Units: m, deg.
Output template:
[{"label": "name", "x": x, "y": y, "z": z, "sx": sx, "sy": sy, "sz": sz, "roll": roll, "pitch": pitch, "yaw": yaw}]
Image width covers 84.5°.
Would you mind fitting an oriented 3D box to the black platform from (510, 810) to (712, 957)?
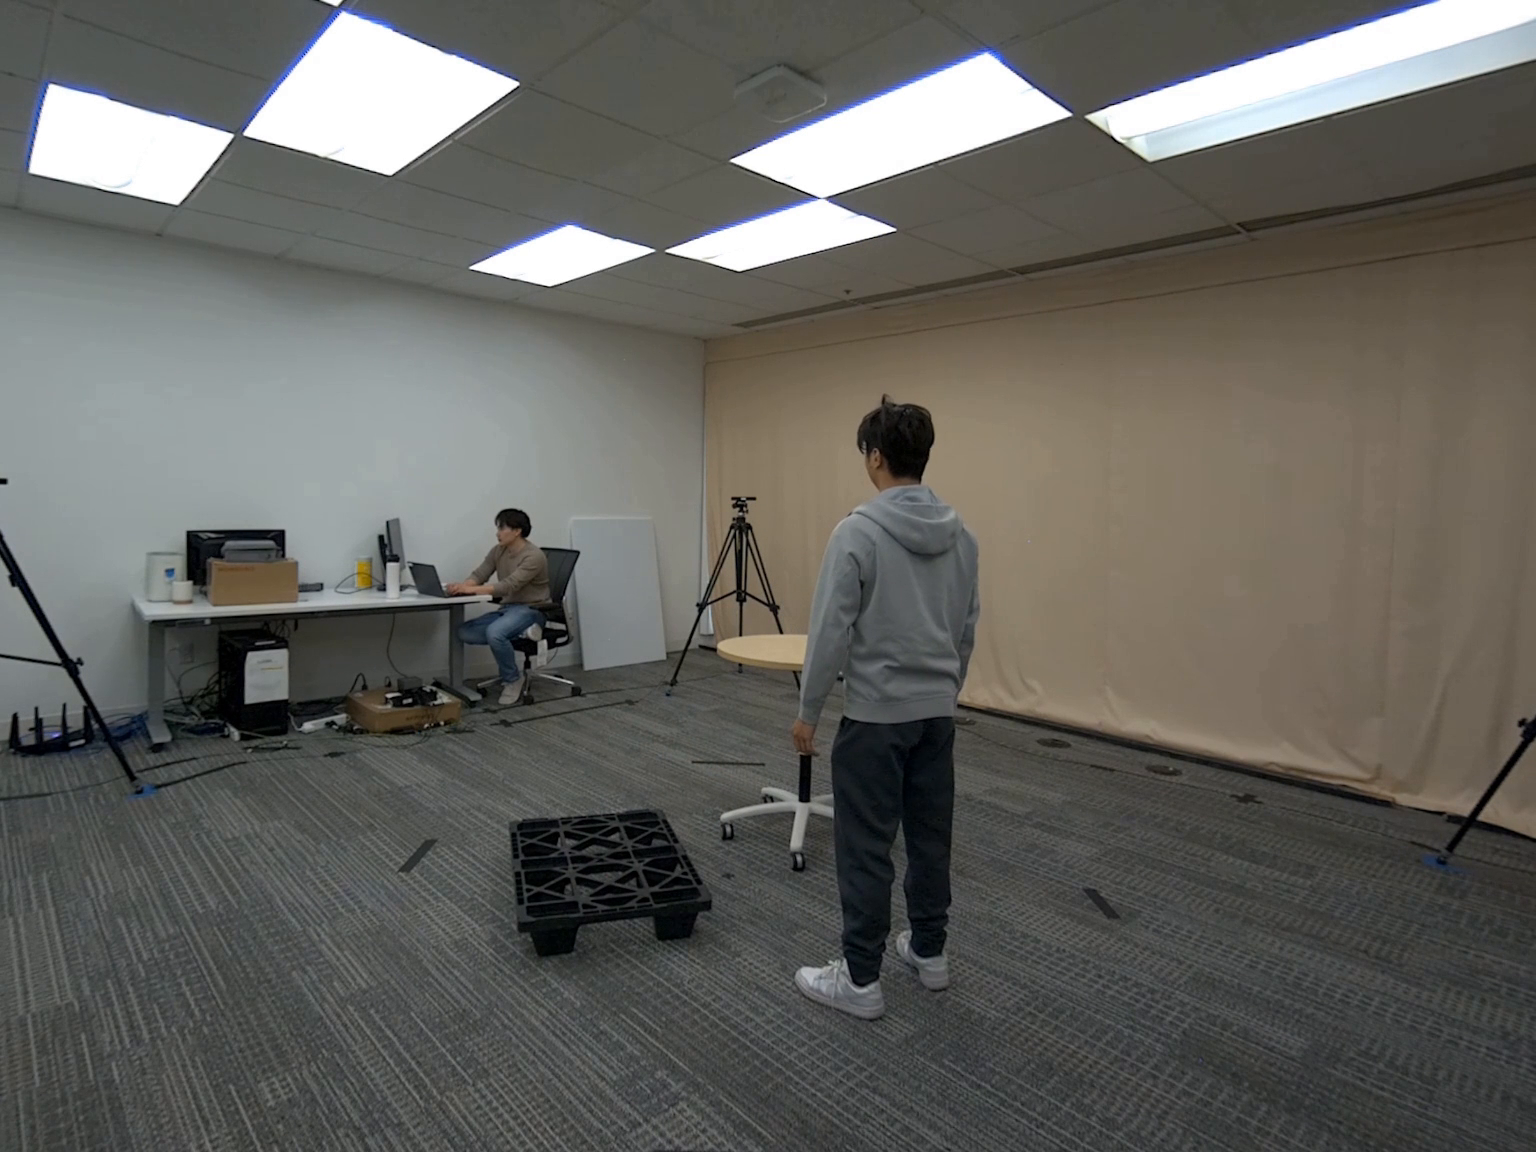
[{"label": "black platform", "x": -0.589, "y": 1.044, "z": 2.946, "sx": 0.597, "sy": 0.143, "sz": 0.819, "roll": 0, "pitch": 6, "yaw": -18}]
